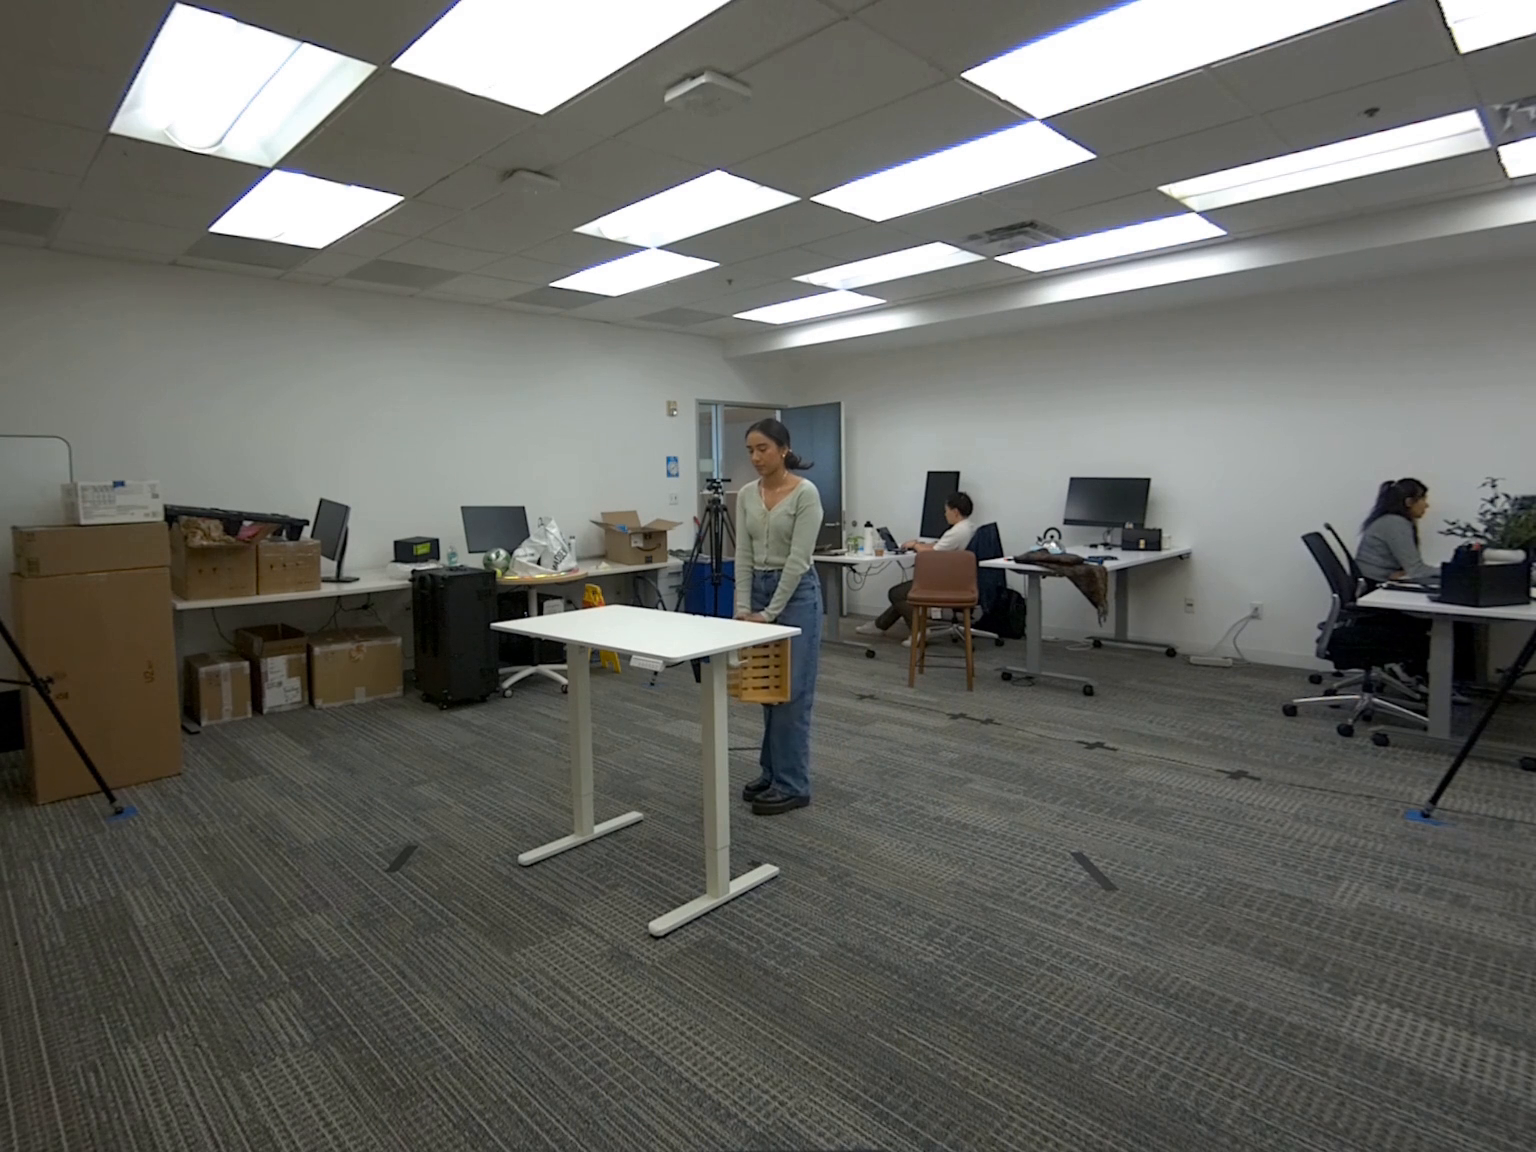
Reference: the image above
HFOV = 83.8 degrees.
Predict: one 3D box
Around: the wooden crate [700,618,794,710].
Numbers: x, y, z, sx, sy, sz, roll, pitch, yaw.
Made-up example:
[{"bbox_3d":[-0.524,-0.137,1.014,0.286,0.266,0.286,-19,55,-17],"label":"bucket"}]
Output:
[{"bbox_3d":[-0.094,0.353,3.563,0.296,0.324,0.279,0,3,-22],"label":"wooden crate"}]
